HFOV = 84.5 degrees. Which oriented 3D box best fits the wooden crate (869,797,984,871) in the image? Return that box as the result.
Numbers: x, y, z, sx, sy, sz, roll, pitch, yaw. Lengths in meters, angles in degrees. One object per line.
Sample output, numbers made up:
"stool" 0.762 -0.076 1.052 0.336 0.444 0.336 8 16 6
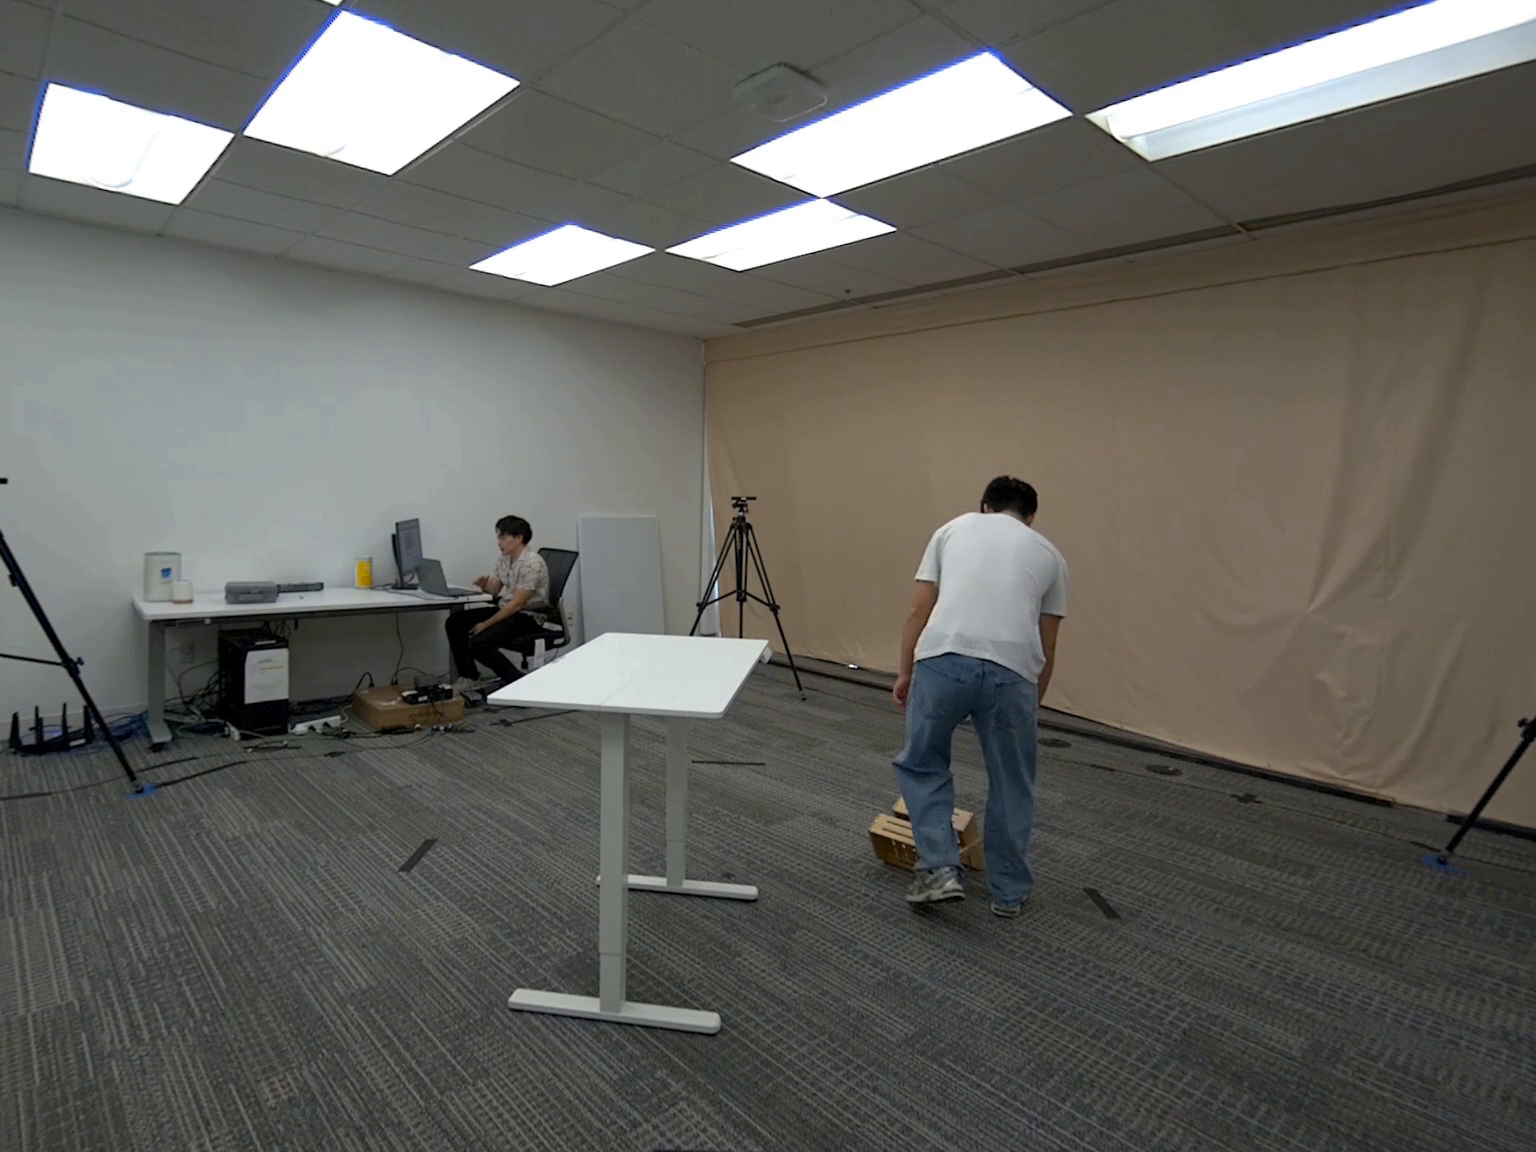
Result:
"wooden crate" 0.595 1.027 3.190 0.332 0.296 0.272 4 32 40
